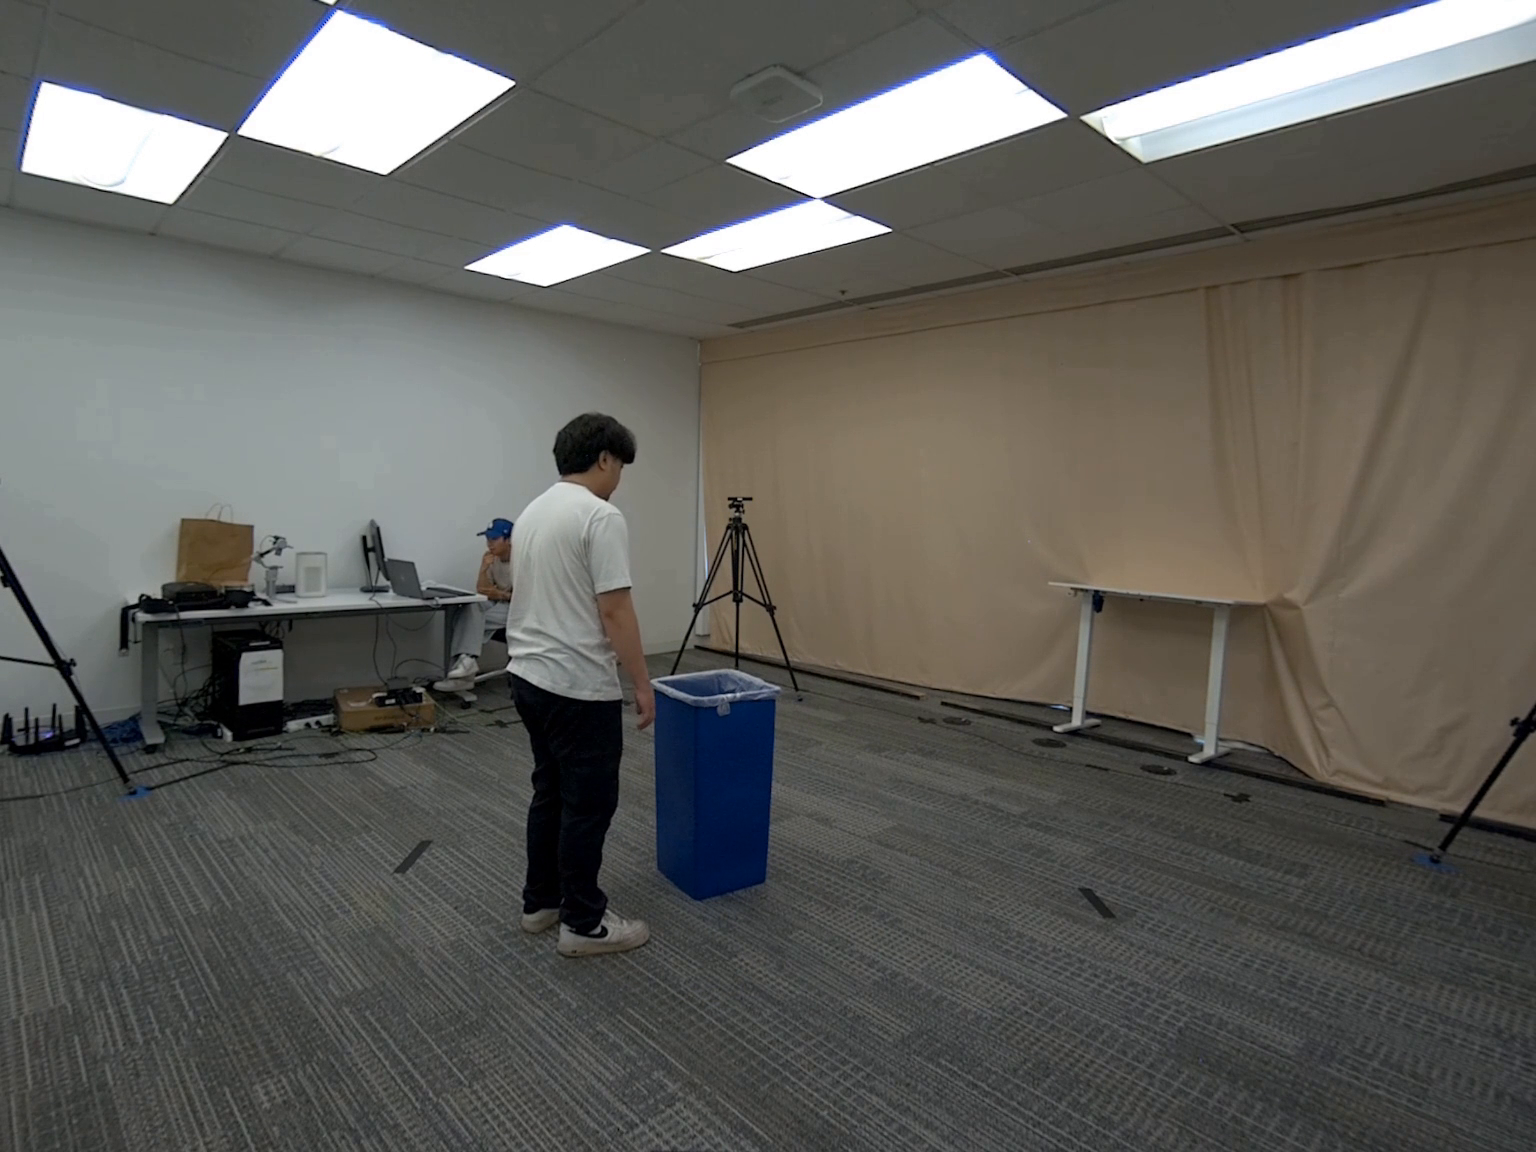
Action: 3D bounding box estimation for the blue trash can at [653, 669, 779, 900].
[{"bbox_3d":[-0.215,0.747,3.096,0.370,0.712,0.383,-1,4,-34],"label":"blue trash can"}]
